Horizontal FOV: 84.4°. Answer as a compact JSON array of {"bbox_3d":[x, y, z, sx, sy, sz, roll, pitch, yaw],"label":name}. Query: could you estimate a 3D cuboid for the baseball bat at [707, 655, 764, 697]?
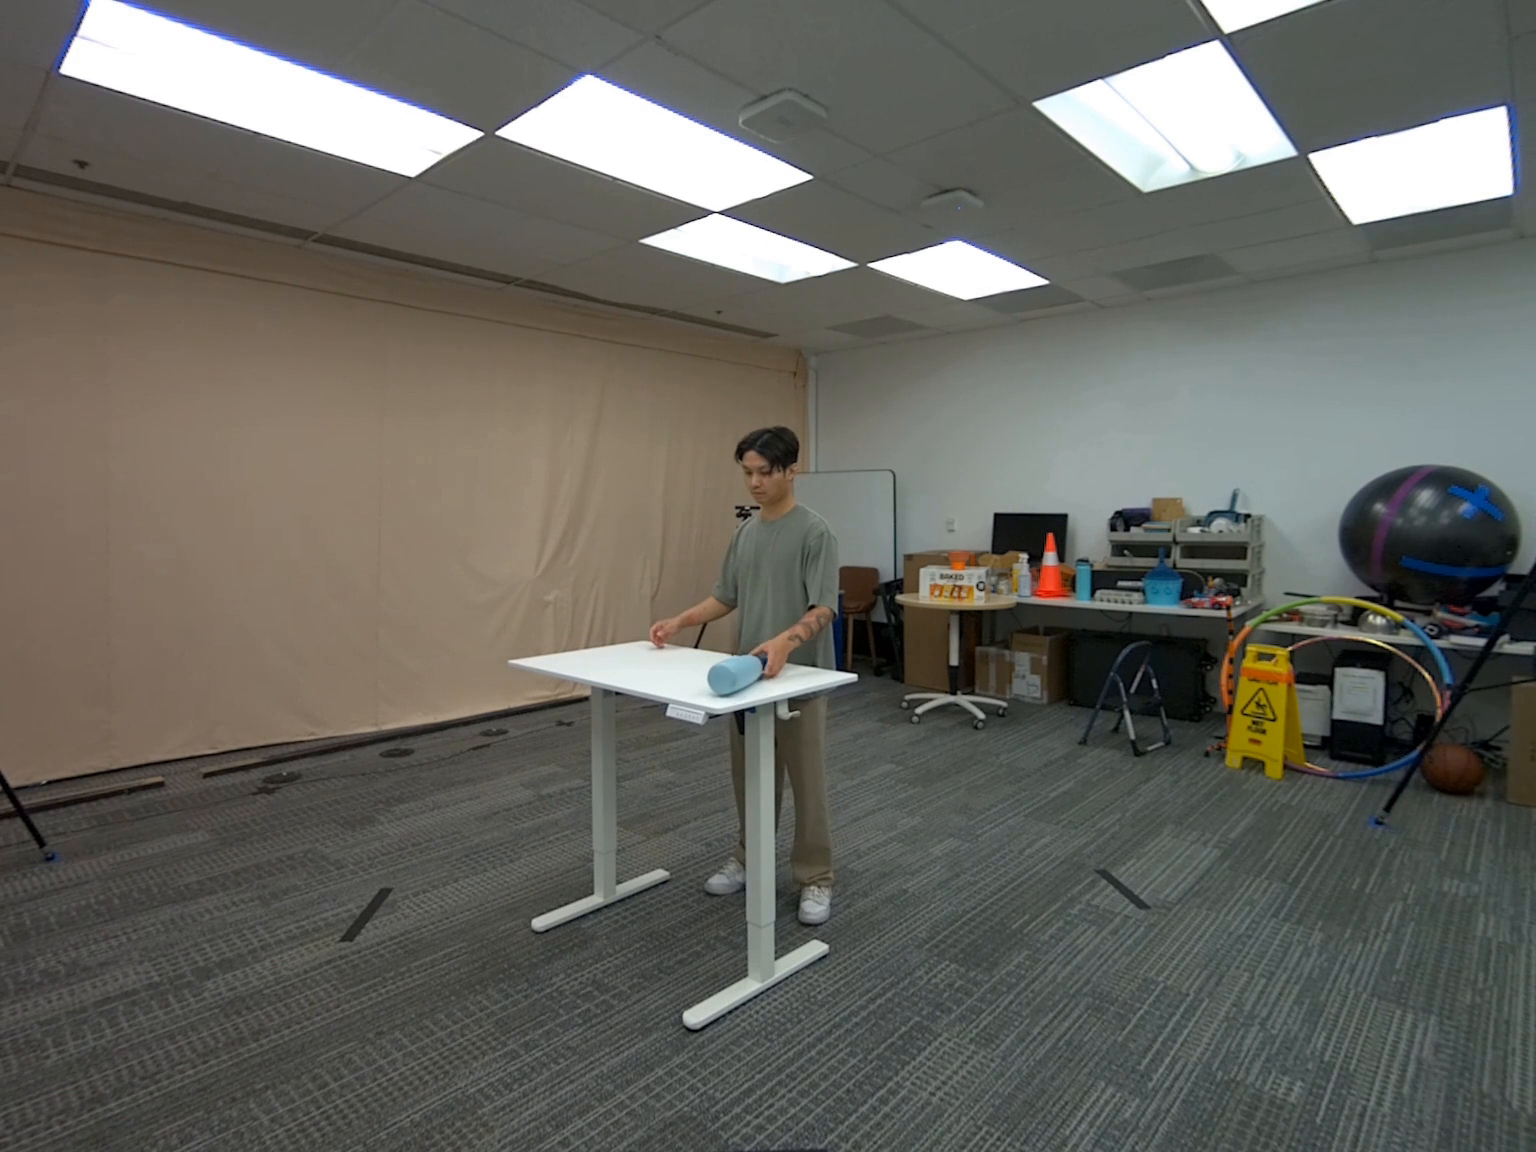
[{"bbox_3d":[-0.051,0.268,2.469,0.091,0.089,0.533,1,1,16],"label":"baseball bat"}]
